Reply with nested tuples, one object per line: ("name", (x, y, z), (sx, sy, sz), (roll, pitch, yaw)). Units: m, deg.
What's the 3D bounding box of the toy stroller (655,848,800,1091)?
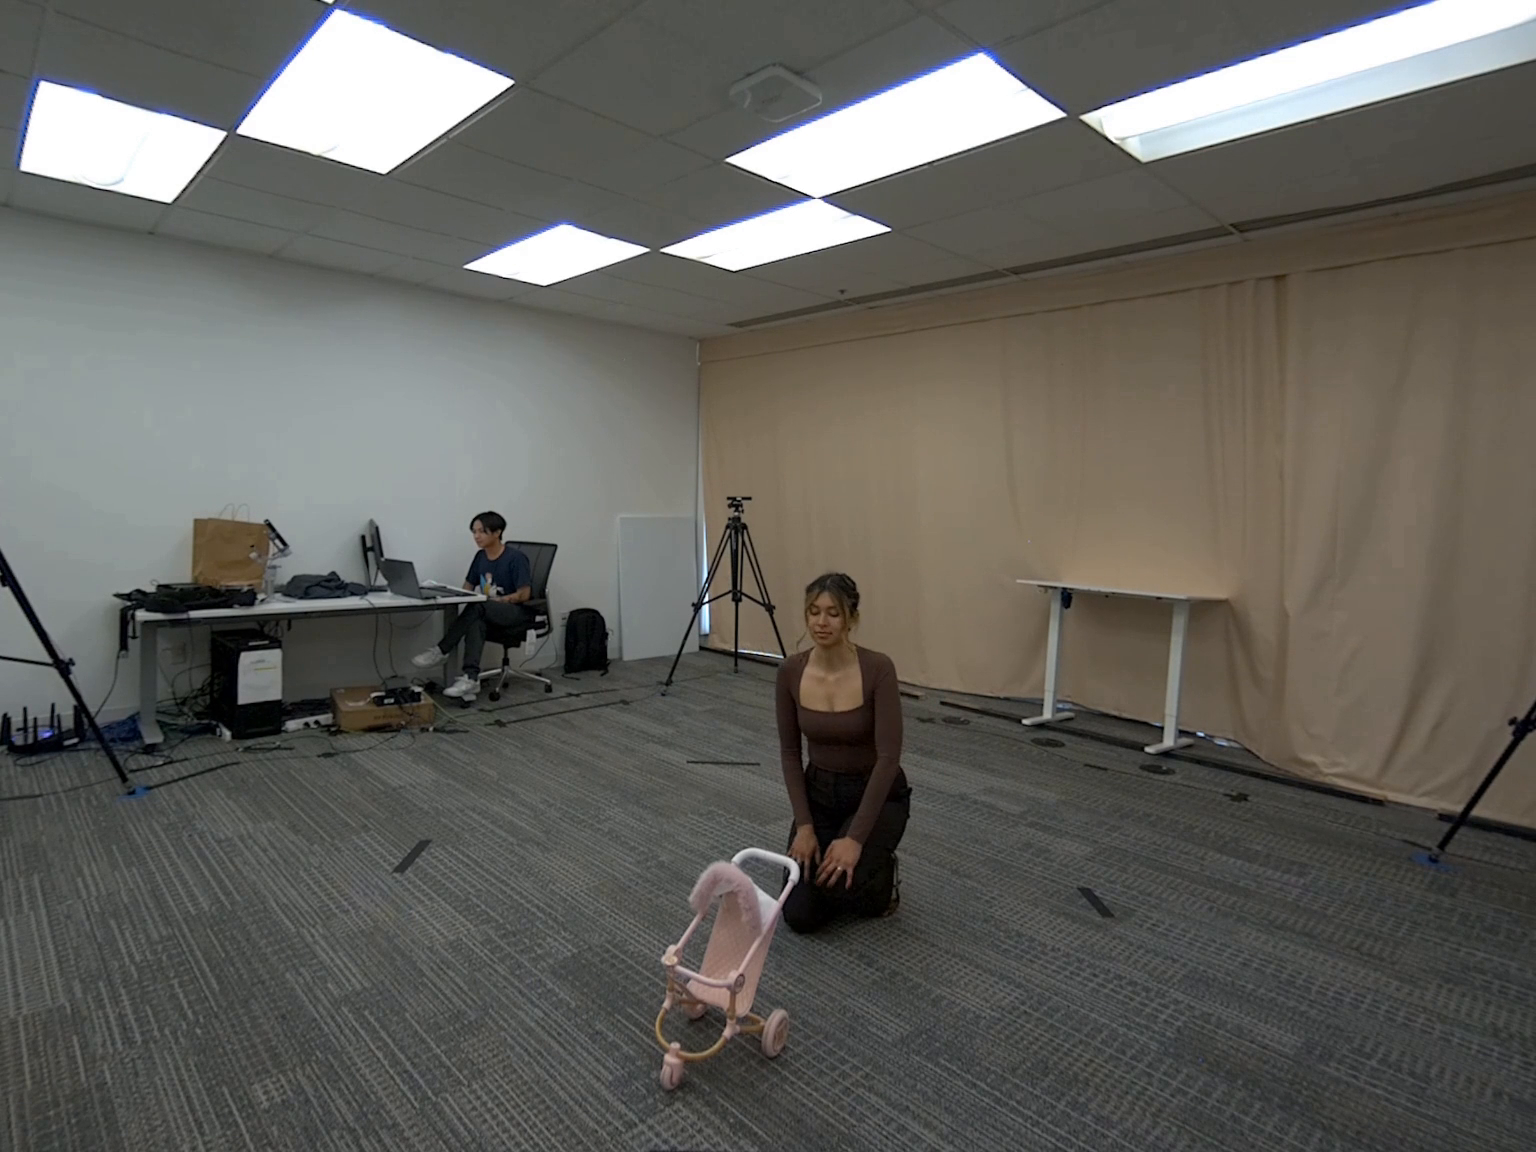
("toy stroller", (-0.121, 0.977, 2.120), (0.288, 0.538, 0.331), (4, -13, 38))
